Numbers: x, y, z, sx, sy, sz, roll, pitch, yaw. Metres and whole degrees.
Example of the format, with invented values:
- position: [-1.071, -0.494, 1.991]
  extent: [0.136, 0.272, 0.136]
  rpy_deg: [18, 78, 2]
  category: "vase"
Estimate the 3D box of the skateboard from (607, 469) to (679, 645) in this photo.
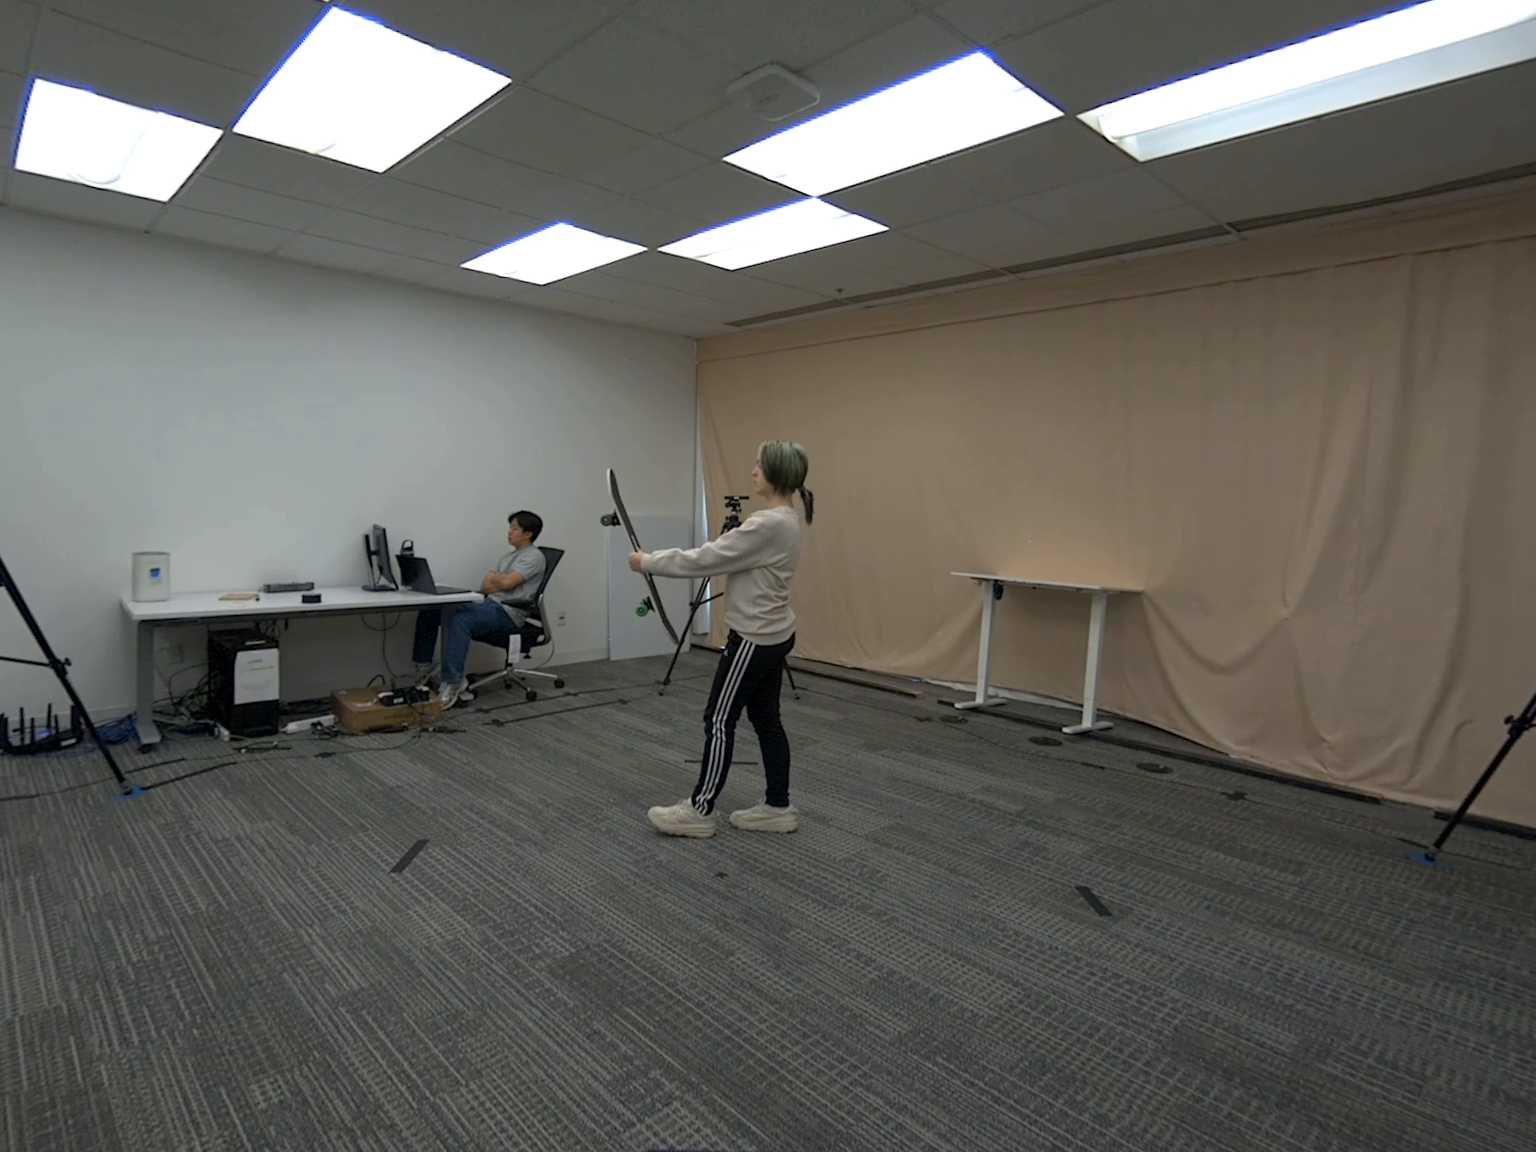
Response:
- position: [-0.568, -0.060, 3.528]
  extent: [0.110, 0.782, 0.194]
  rpy_deg: [-21, 4, 0]
  category: "skateboard"
